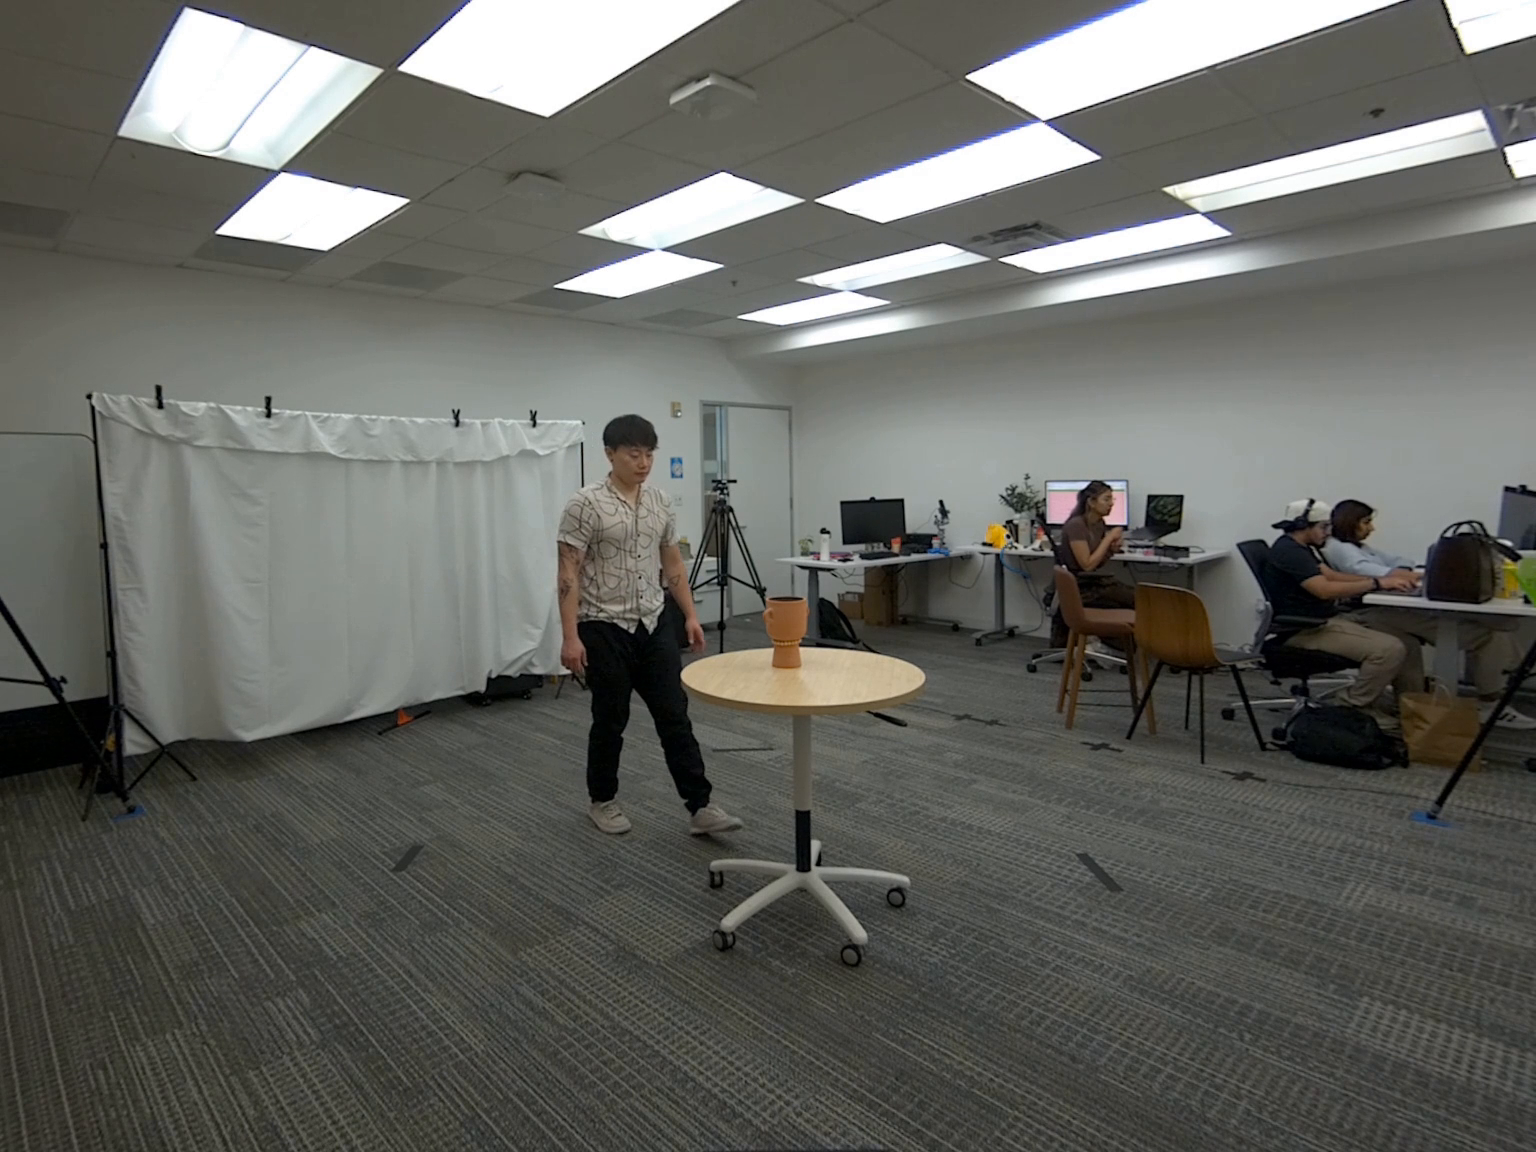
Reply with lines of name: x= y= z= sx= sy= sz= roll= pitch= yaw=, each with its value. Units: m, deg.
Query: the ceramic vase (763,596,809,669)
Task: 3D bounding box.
ceramic vase: x=0.065 y=0.185 z=2.804 sx=0.159 sy=0.219 sz=0.135 roll=0 pitch=3 yaw=-1
